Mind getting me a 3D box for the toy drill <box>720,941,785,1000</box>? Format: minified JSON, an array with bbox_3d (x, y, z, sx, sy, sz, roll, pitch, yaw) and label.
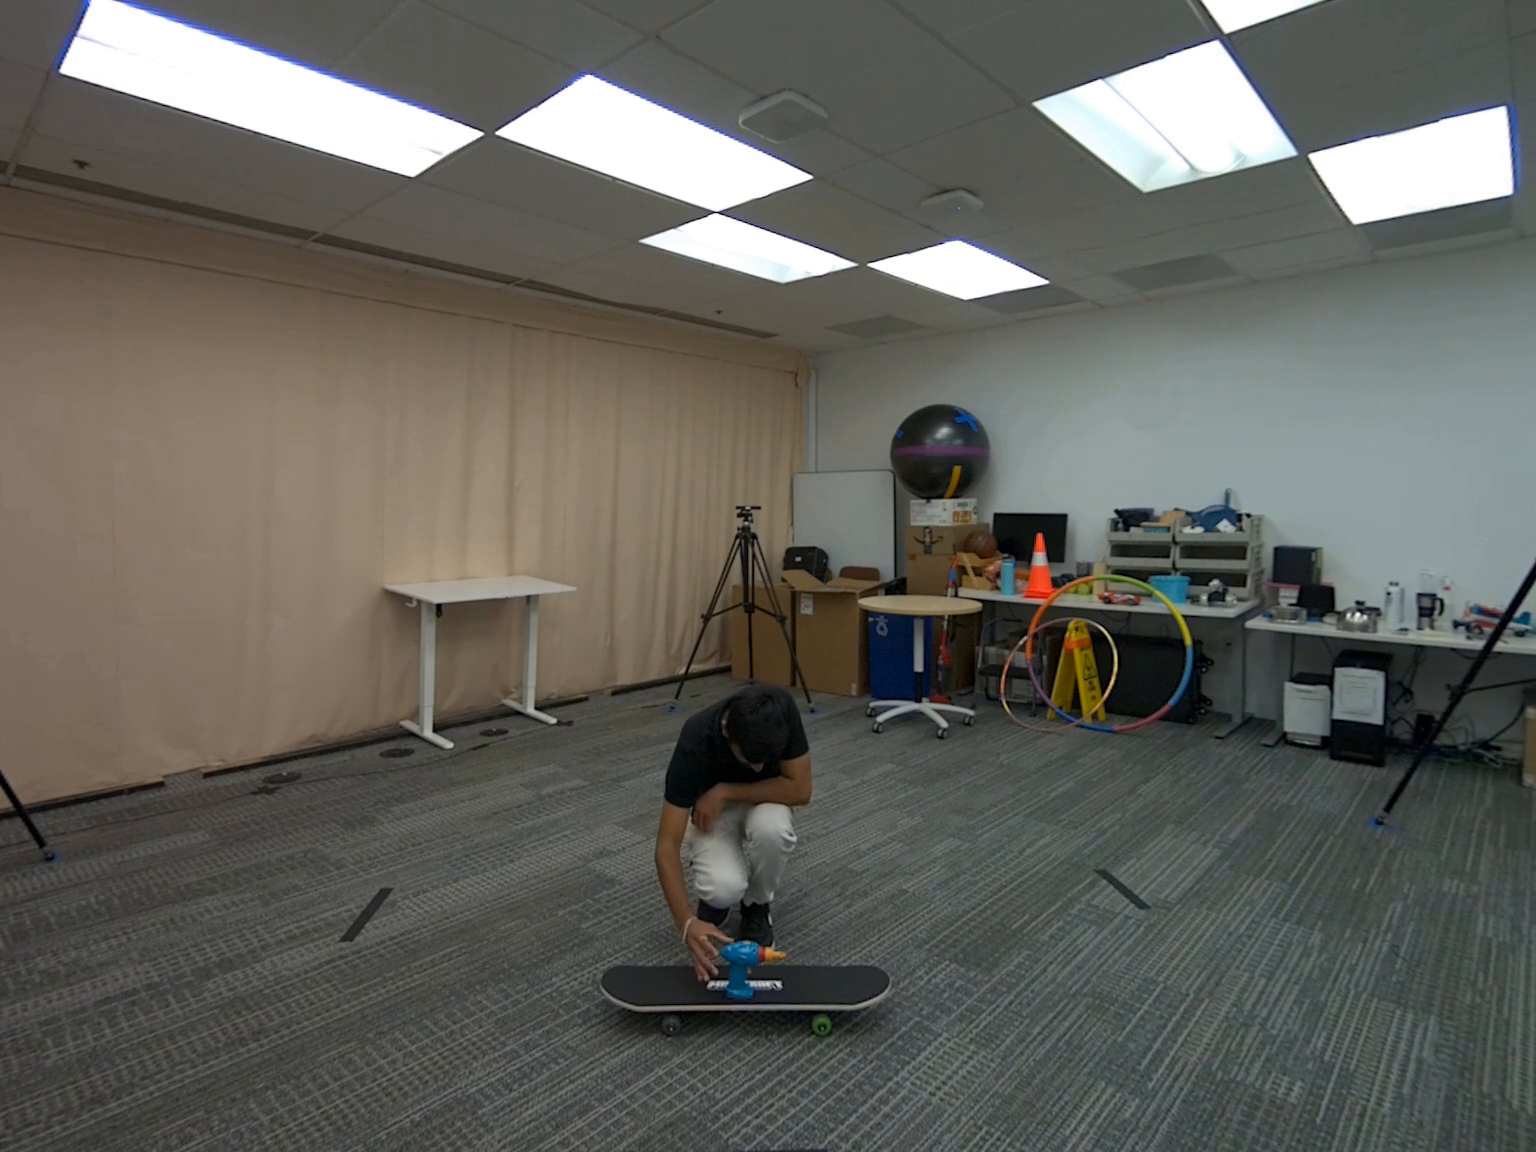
[{"bbox_3d":[-0.037,1.039,2.239,0.170,0.146,0.061,0,2,0],"label":"toy drill"}]
